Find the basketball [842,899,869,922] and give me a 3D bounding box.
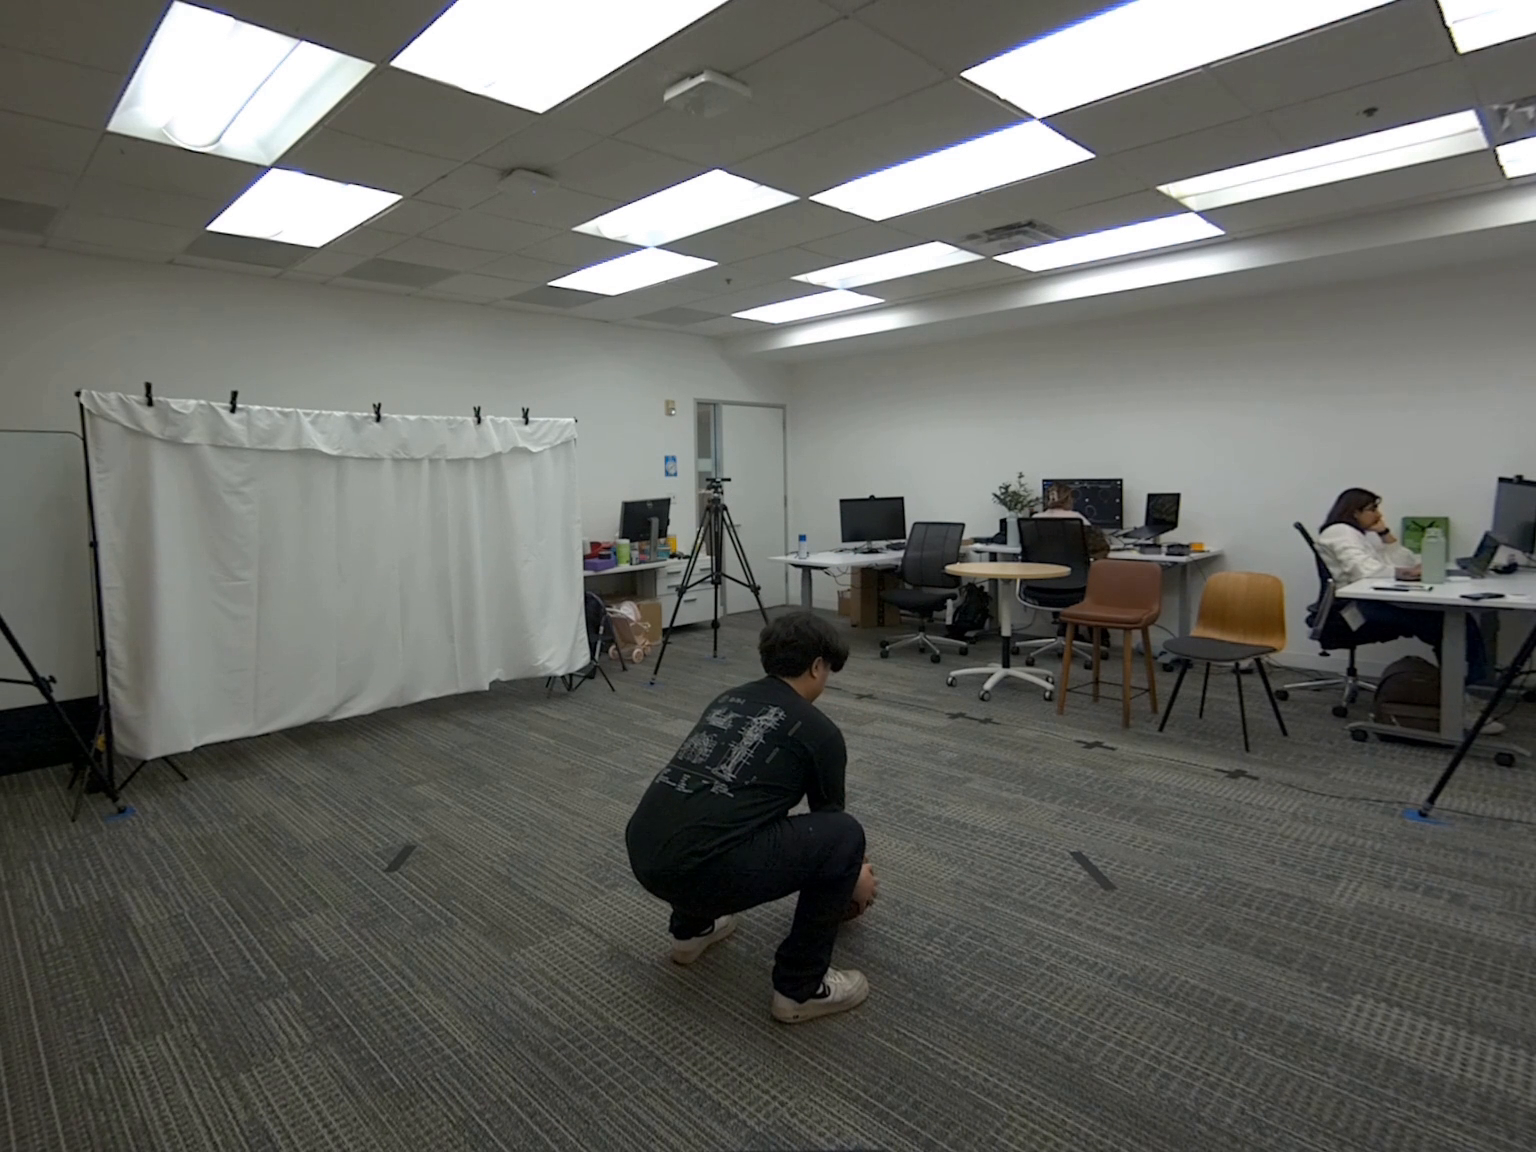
[{"bbox_3d":[0.234,0.948,2.664,0.236,0.235,0.237,-1,5,-2],"label":"basketball"}]
